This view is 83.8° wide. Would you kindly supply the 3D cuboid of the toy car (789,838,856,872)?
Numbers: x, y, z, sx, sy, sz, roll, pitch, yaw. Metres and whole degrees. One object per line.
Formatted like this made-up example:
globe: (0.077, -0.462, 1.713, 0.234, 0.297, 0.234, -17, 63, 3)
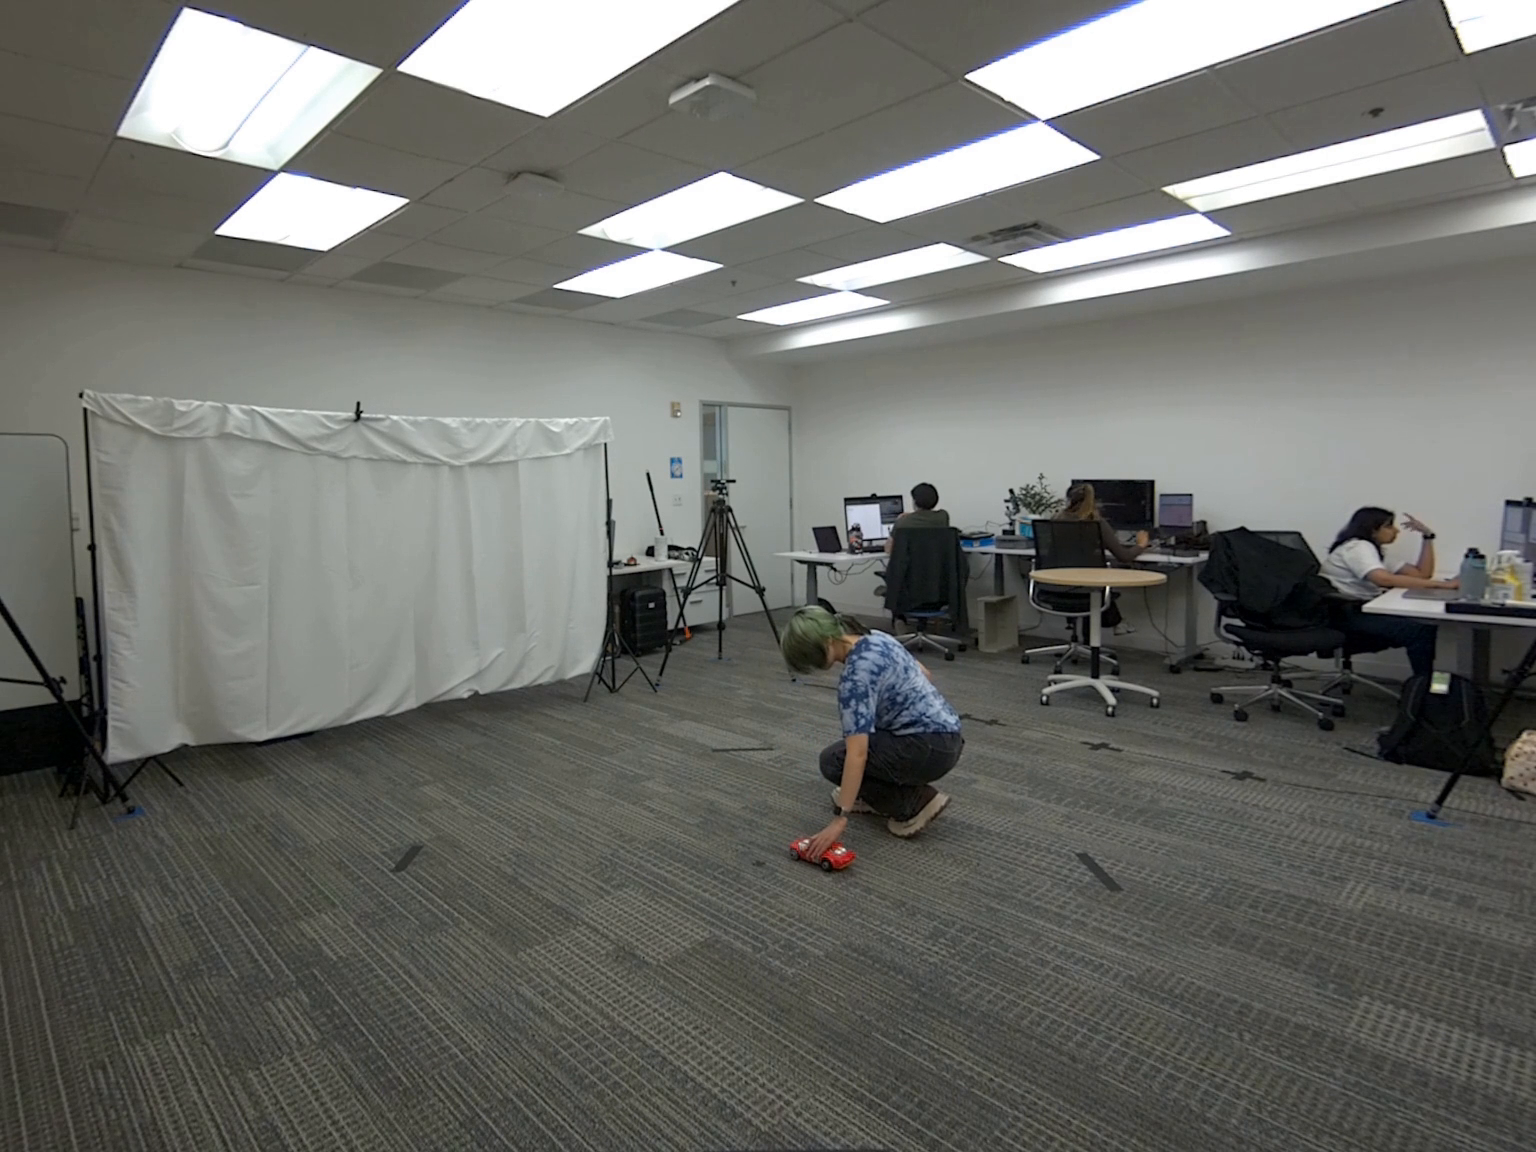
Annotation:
toy car: (0.206, 1.014, 3.101, 0.261, 0.083, 0.127, -8, -2, 43)
